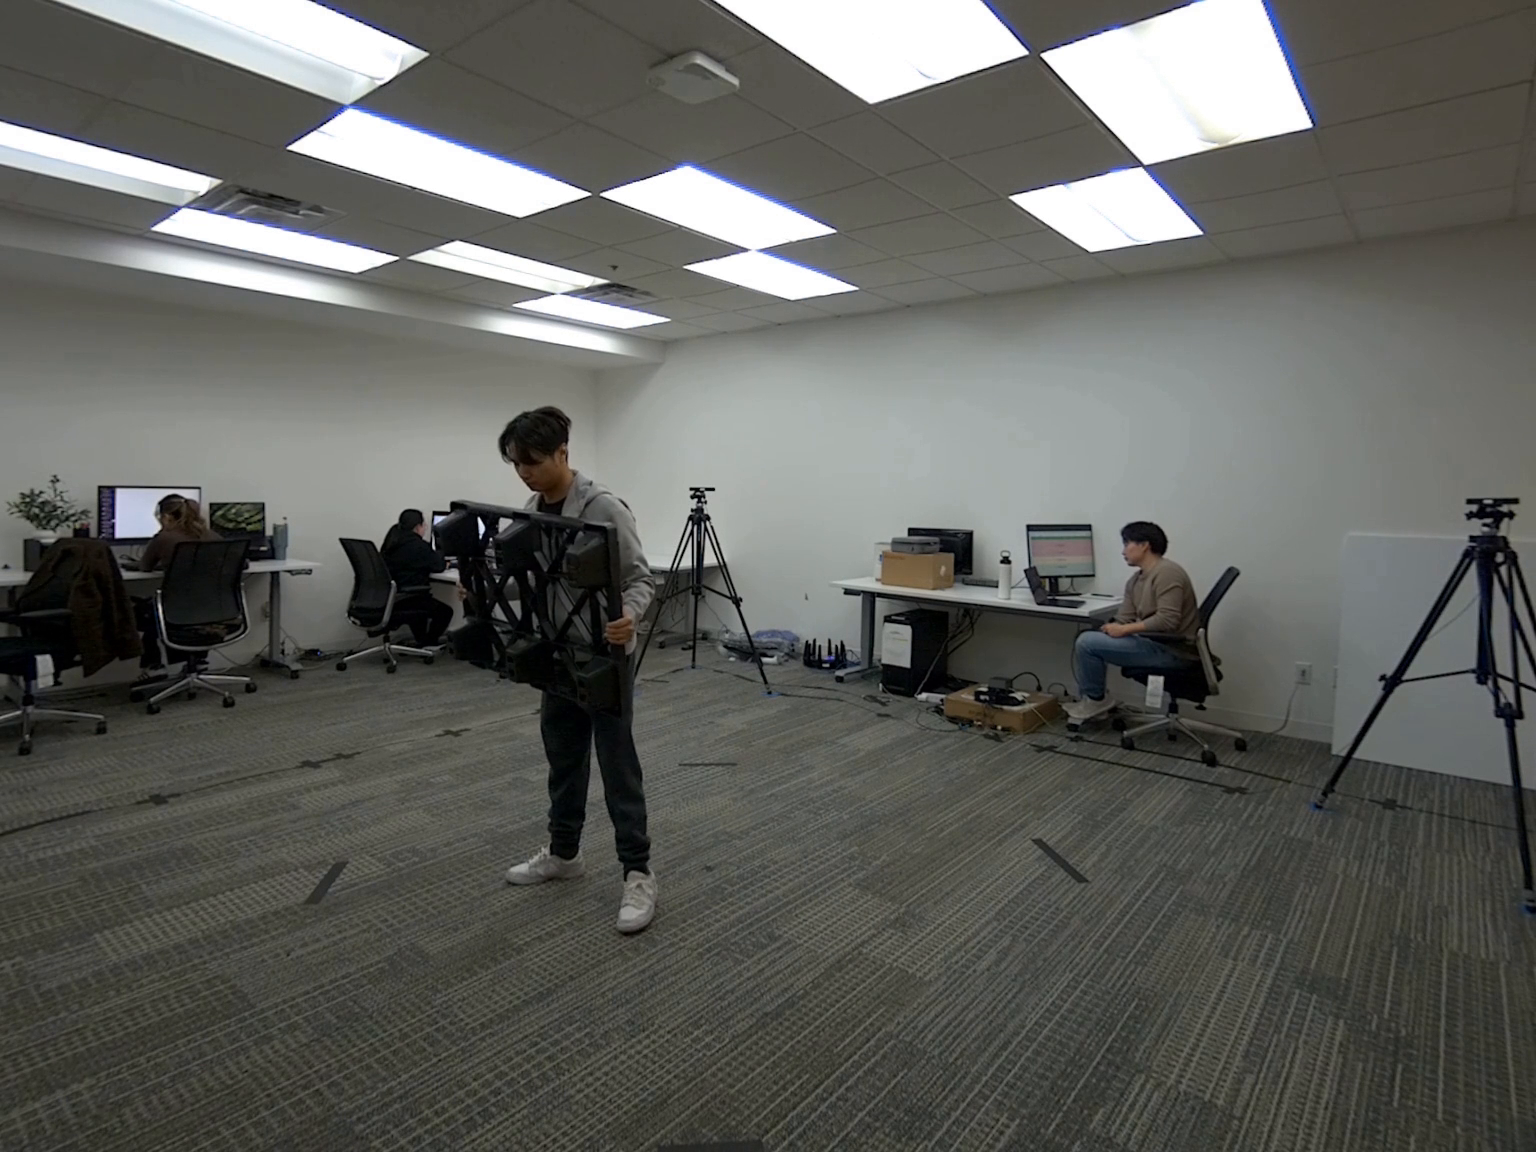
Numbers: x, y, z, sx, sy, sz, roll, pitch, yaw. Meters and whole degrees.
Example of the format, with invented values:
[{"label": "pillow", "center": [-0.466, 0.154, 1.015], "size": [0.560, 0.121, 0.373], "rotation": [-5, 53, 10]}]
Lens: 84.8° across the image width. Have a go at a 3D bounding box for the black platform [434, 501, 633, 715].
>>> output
[{"label": "black platform", "center": [-0.795, 0.101, 2.715], "size": [0.834, 0.597, 0.140], "rotation": [10, 17, 38]}]
